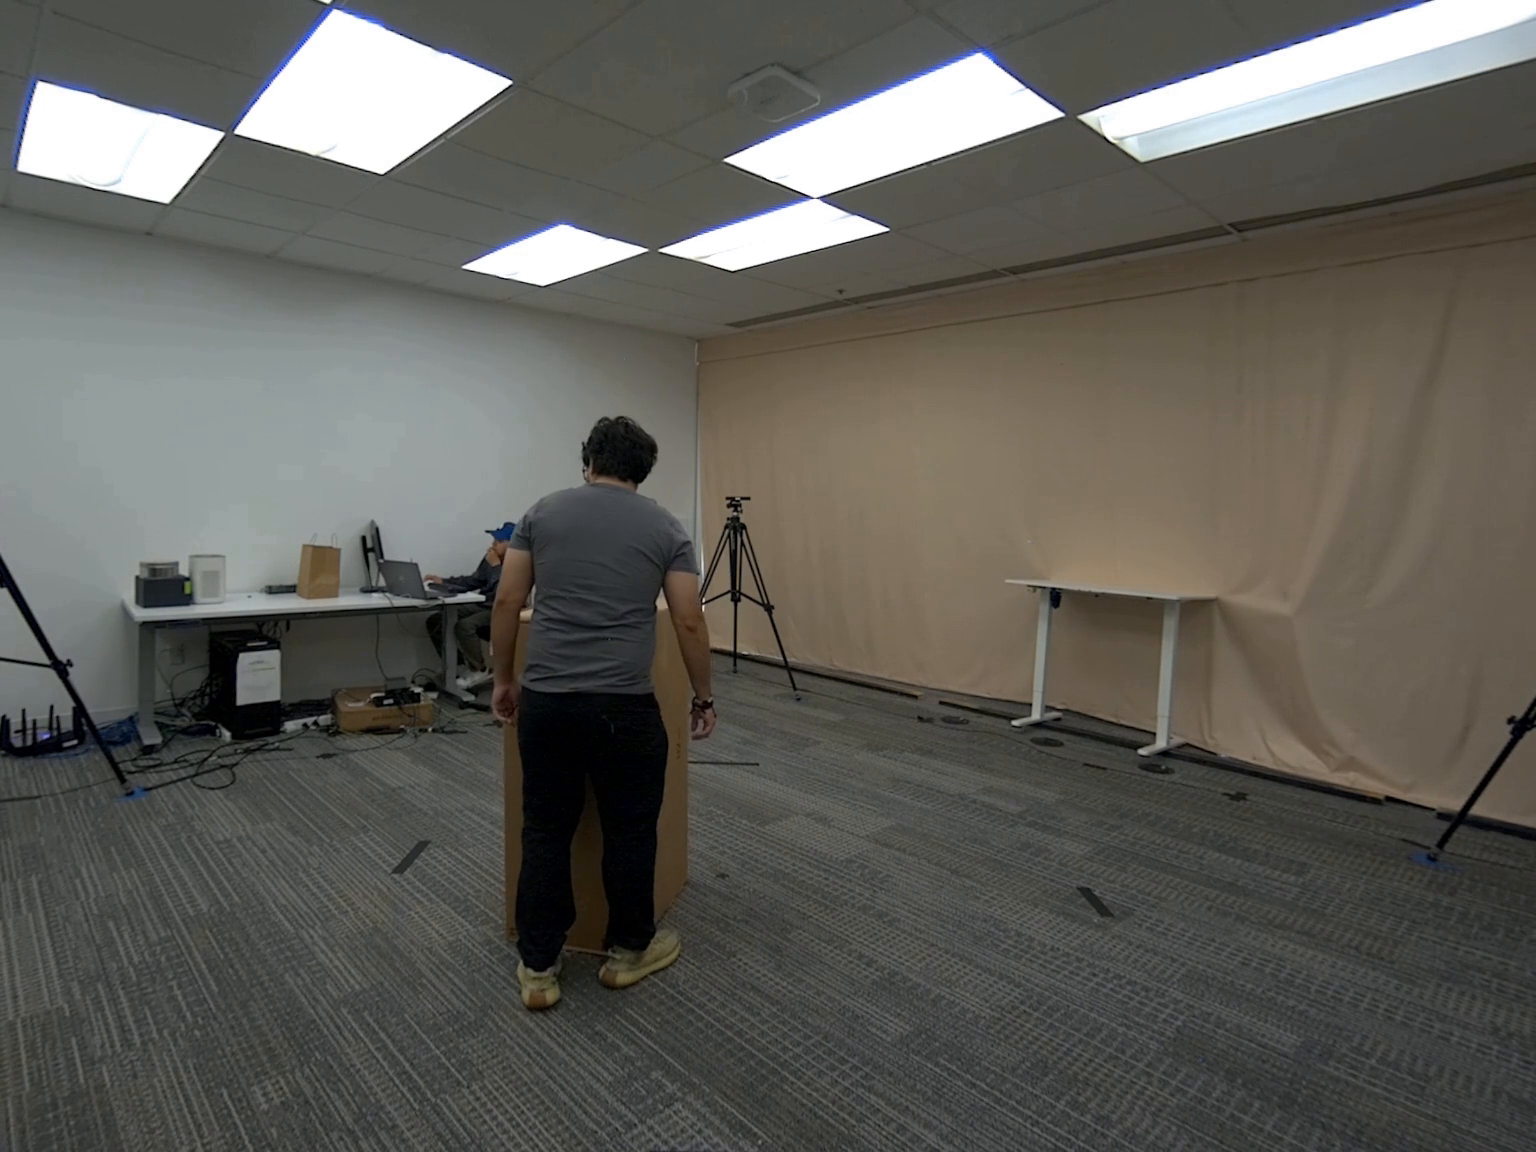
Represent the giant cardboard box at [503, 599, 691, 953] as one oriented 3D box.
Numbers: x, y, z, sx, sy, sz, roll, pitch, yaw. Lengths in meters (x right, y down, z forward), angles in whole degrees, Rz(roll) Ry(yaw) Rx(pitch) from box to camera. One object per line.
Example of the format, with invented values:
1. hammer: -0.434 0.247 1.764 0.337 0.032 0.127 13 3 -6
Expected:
1. giant cardboard box: -0.561 0.618 2.825 0.452 1.025 0.579 2 3 13
